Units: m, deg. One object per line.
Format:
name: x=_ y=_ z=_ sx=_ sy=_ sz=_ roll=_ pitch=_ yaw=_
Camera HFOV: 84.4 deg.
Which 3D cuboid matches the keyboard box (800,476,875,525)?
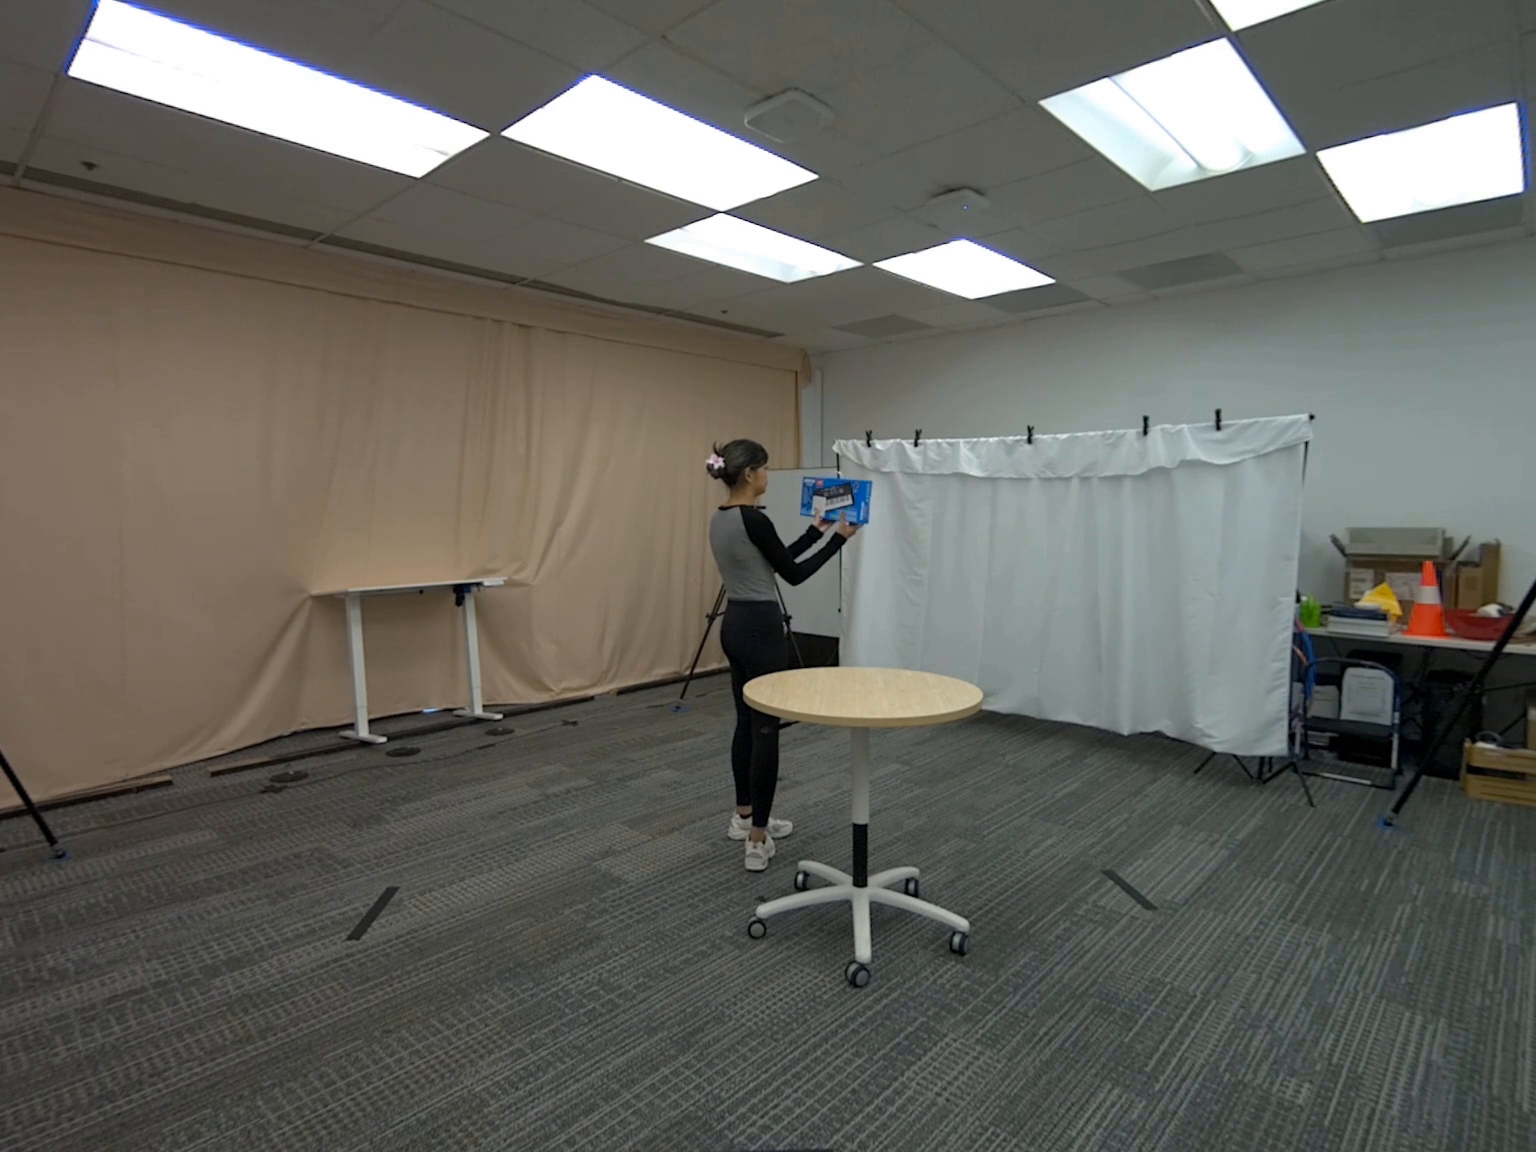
keyboard box: x=0.280 y=-0.323 z=3.539 sx=0.057 sy=0.175 sz=0.450 roll=2 pitch=7 yaw=-28
